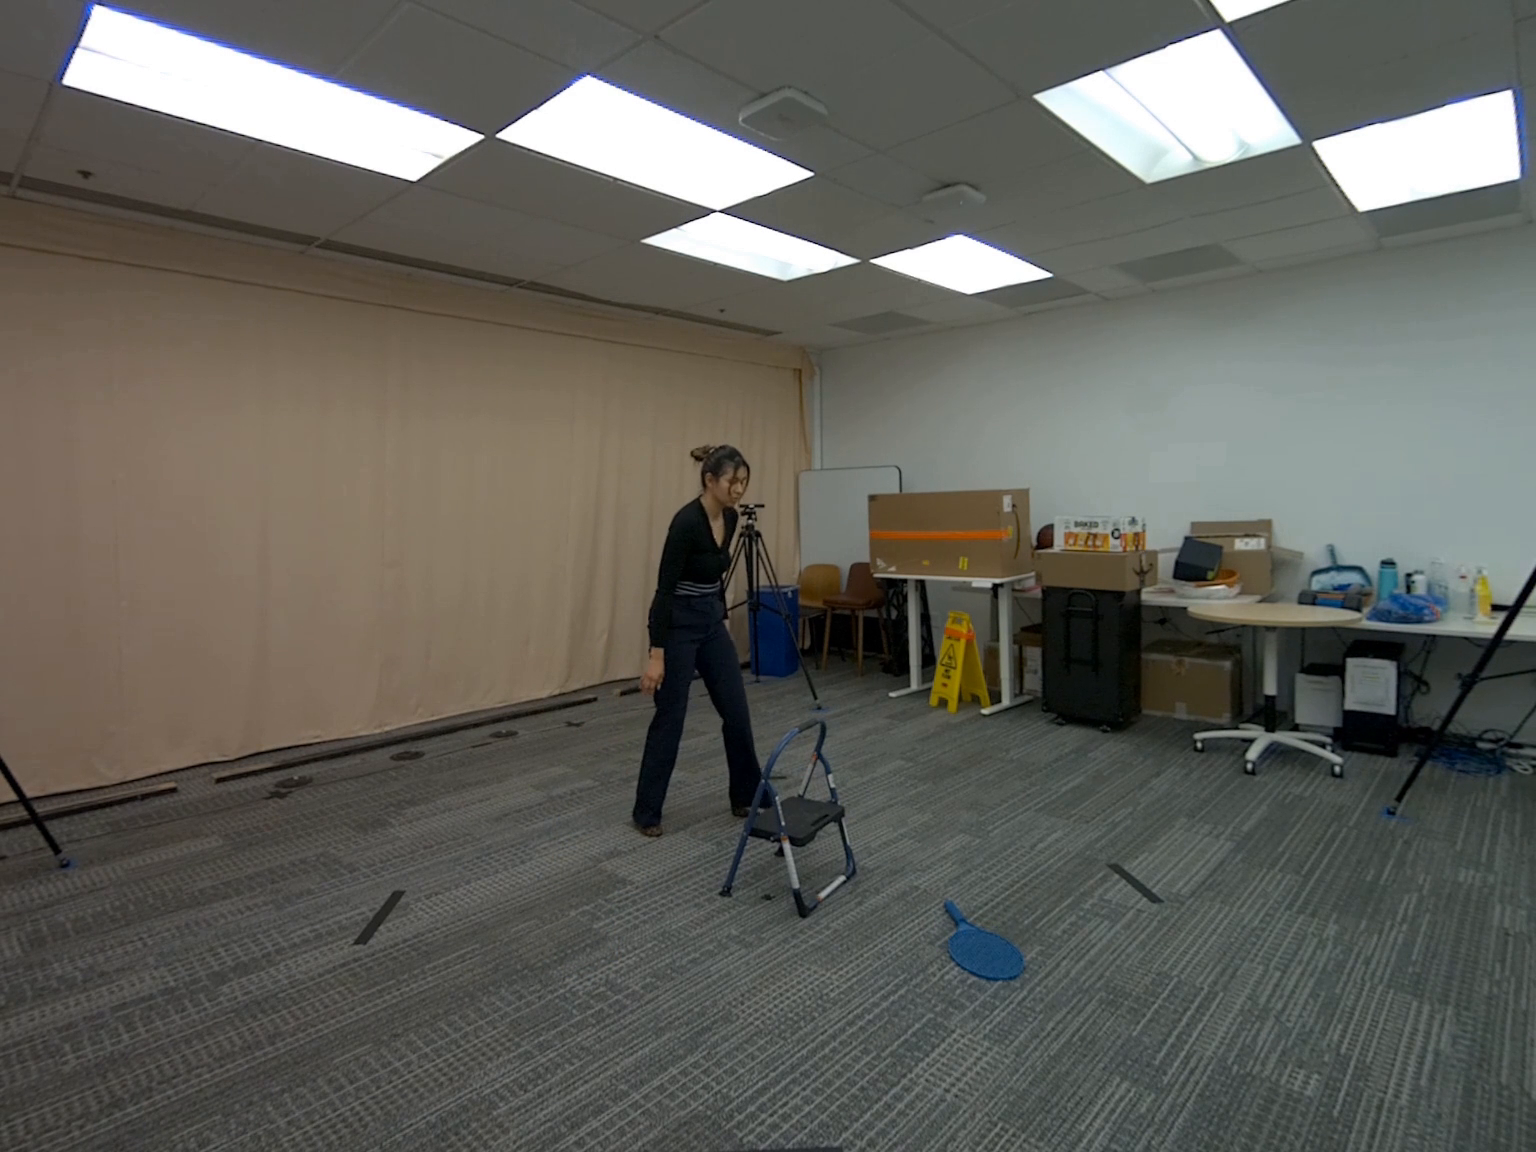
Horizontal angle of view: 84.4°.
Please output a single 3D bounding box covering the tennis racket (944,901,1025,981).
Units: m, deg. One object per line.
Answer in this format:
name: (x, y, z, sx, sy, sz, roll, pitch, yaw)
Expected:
tennis racket: (0.651, 1.138, 2.655, 0.212, 0.031, 0.438, -3, 6, -10)
